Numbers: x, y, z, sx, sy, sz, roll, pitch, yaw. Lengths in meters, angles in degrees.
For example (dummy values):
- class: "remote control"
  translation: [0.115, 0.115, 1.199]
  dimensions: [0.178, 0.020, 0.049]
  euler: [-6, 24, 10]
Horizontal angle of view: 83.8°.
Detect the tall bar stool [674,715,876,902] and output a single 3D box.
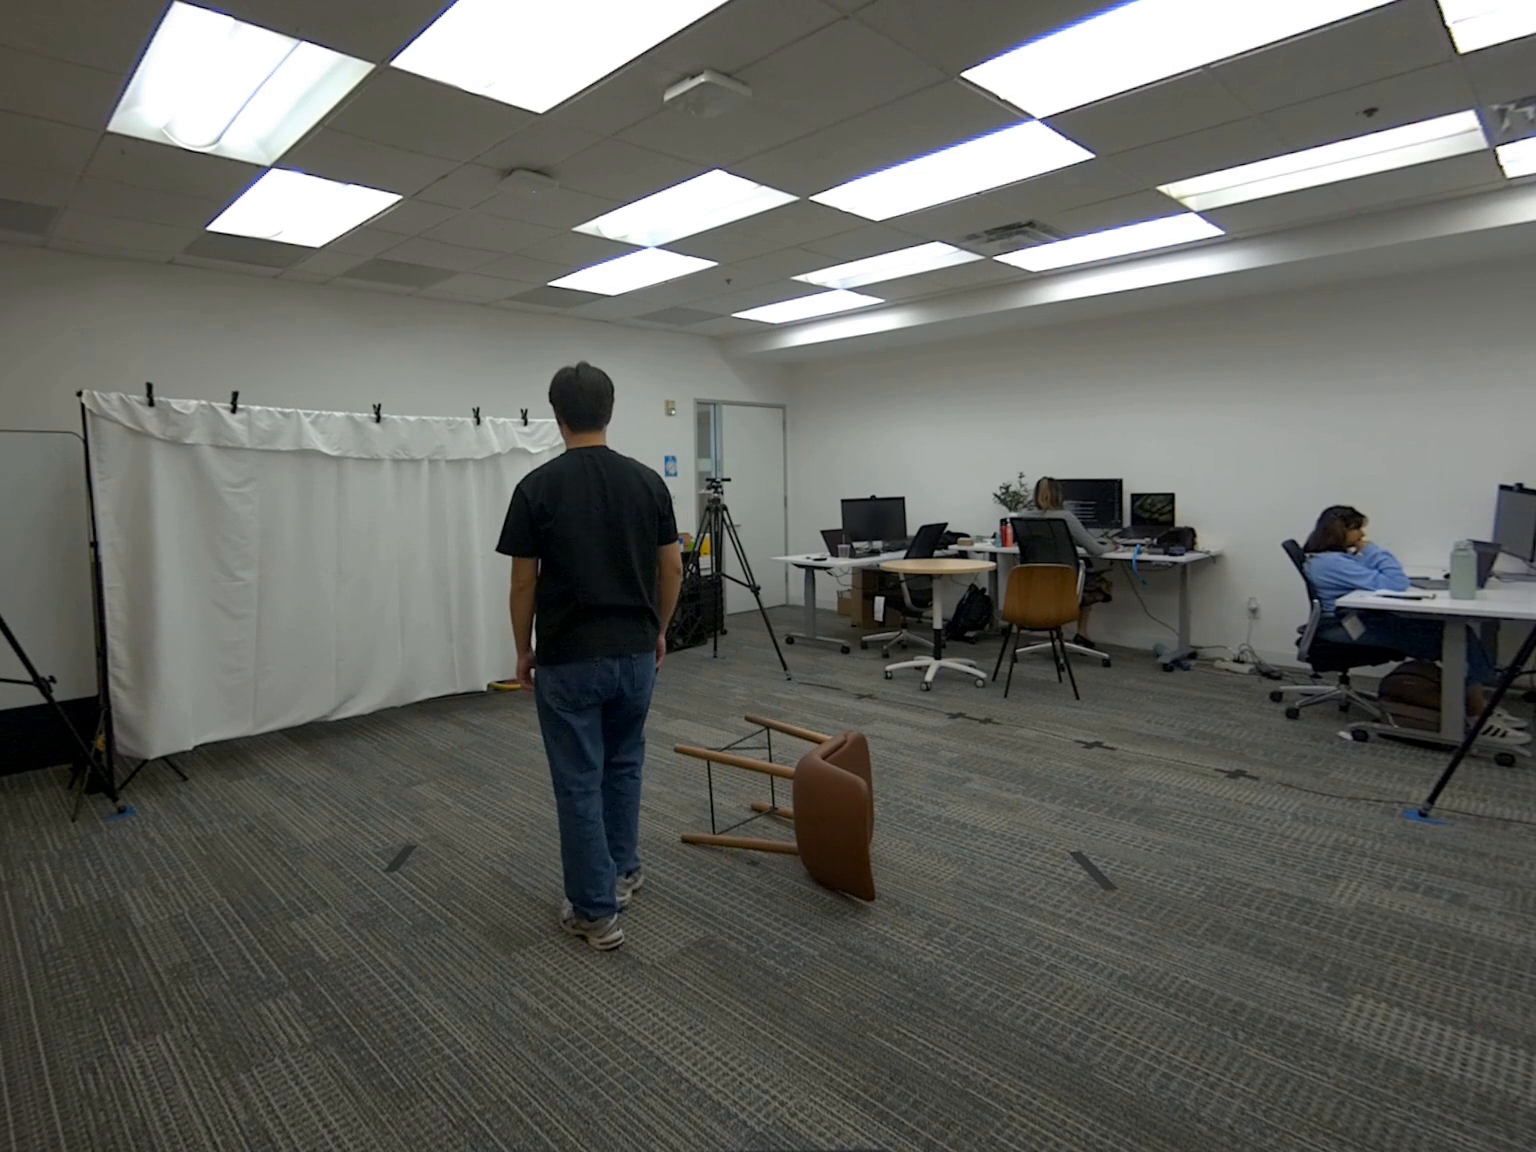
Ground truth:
- class: "tall bar stool"
  translation: [0.127, 0.816, 3.158]
  dimensions: [0.916, 0.455, 0.456]
  euler: [1, 6, 42]
